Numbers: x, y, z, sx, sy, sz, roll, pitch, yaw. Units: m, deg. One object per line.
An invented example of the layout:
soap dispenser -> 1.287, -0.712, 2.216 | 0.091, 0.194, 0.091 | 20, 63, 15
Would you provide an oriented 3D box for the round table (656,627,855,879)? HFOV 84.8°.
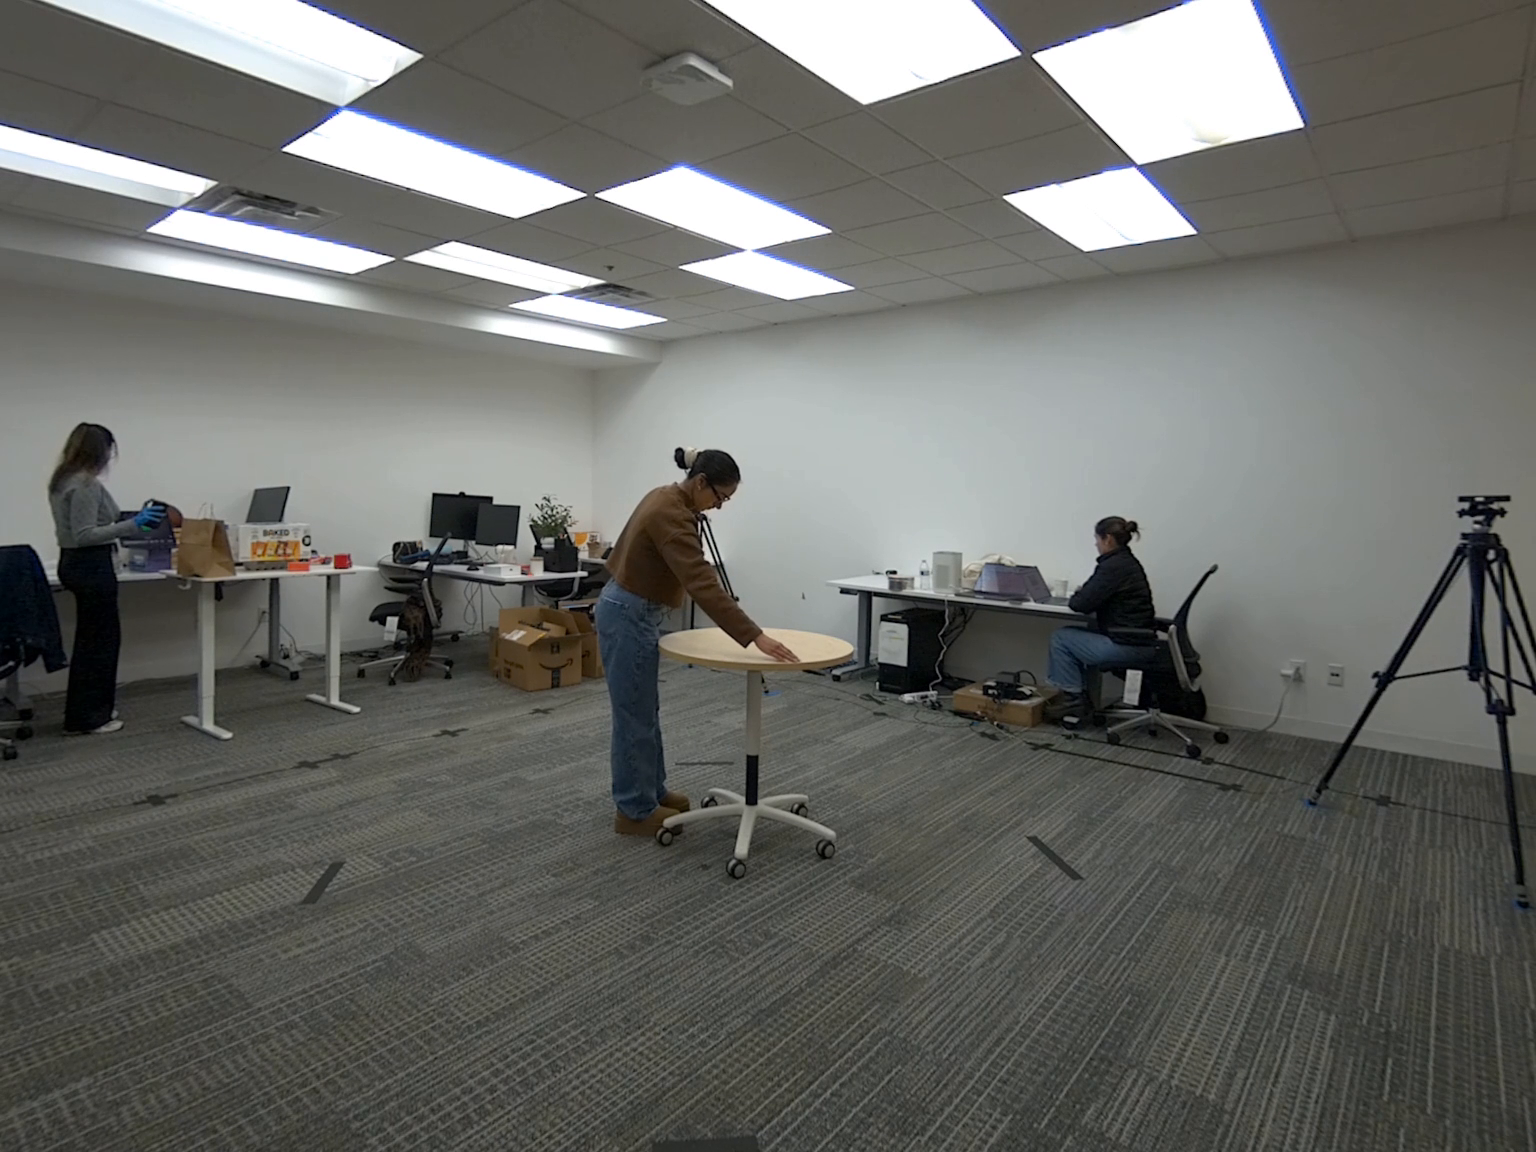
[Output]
round table -> -0.064, 0.658, 3.364 | 0.763, 0.791, 0.768 | 1, 4, -2
